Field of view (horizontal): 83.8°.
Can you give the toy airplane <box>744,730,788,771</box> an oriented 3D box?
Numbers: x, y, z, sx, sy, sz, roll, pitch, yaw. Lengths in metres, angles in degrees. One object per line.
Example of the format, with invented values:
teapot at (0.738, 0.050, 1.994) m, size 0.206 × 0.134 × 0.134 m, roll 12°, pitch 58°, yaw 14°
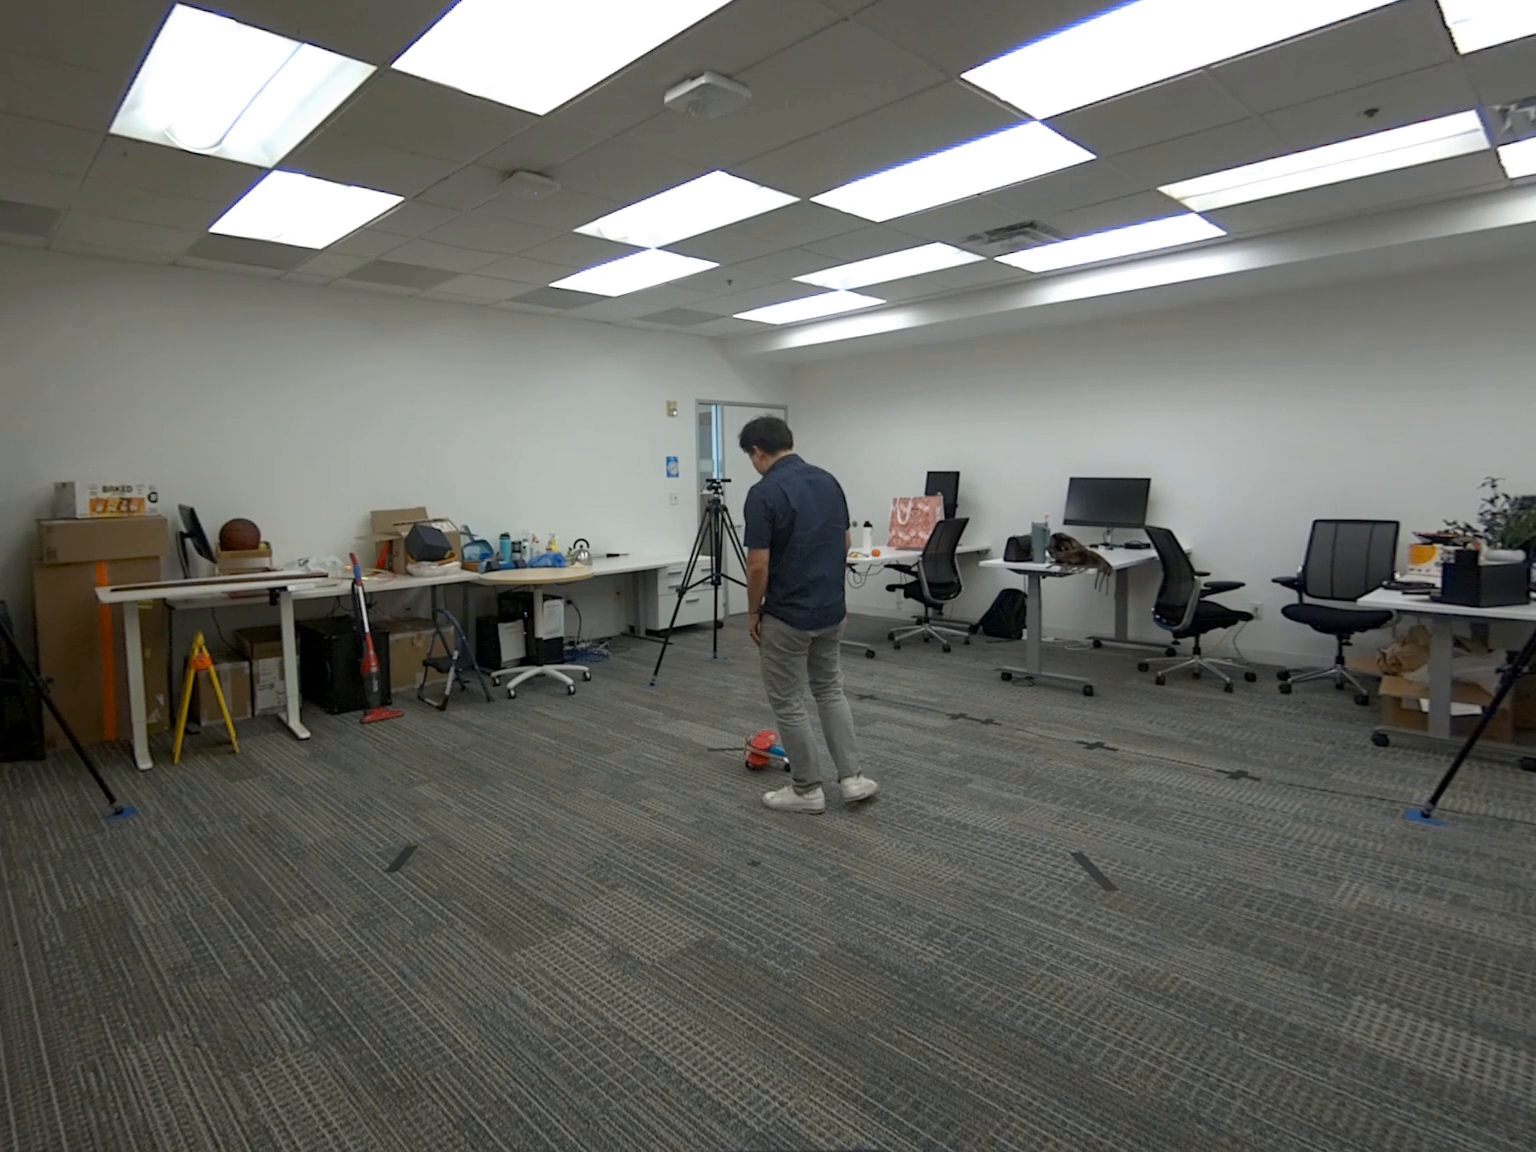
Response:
toy airplane at (0.017, 0.852, 4.149) m, size 0.257 × 0.156 × 0.254 m, roll -3°, pitch 5°, yaw -9°
